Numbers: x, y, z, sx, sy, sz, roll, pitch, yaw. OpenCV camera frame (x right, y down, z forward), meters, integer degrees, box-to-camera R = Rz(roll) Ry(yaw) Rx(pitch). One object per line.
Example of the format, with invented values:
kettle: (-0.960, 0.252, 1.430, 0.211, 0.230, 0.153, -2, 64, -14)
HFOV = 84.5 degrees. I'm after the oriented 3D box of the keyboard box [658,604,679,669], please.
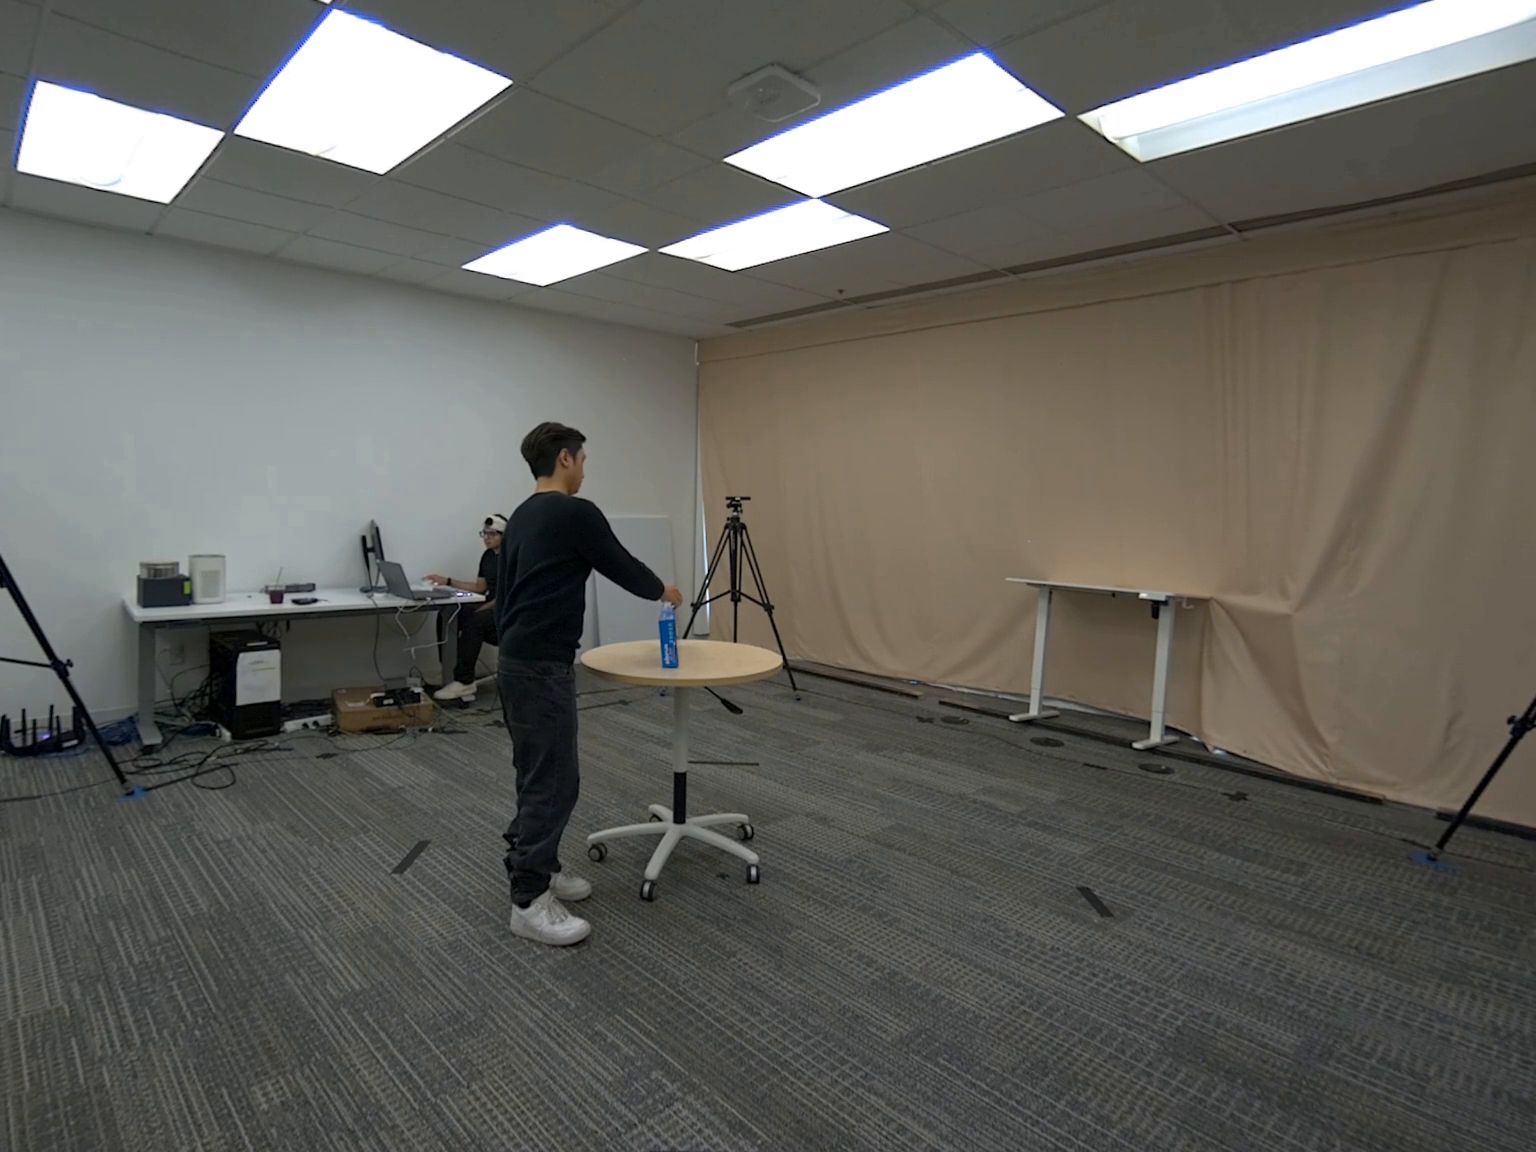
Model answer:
keyboard box: (-0.385, 0.222, 3.217, 0.059, 0.175, 0.439, -5, 6, -4)
